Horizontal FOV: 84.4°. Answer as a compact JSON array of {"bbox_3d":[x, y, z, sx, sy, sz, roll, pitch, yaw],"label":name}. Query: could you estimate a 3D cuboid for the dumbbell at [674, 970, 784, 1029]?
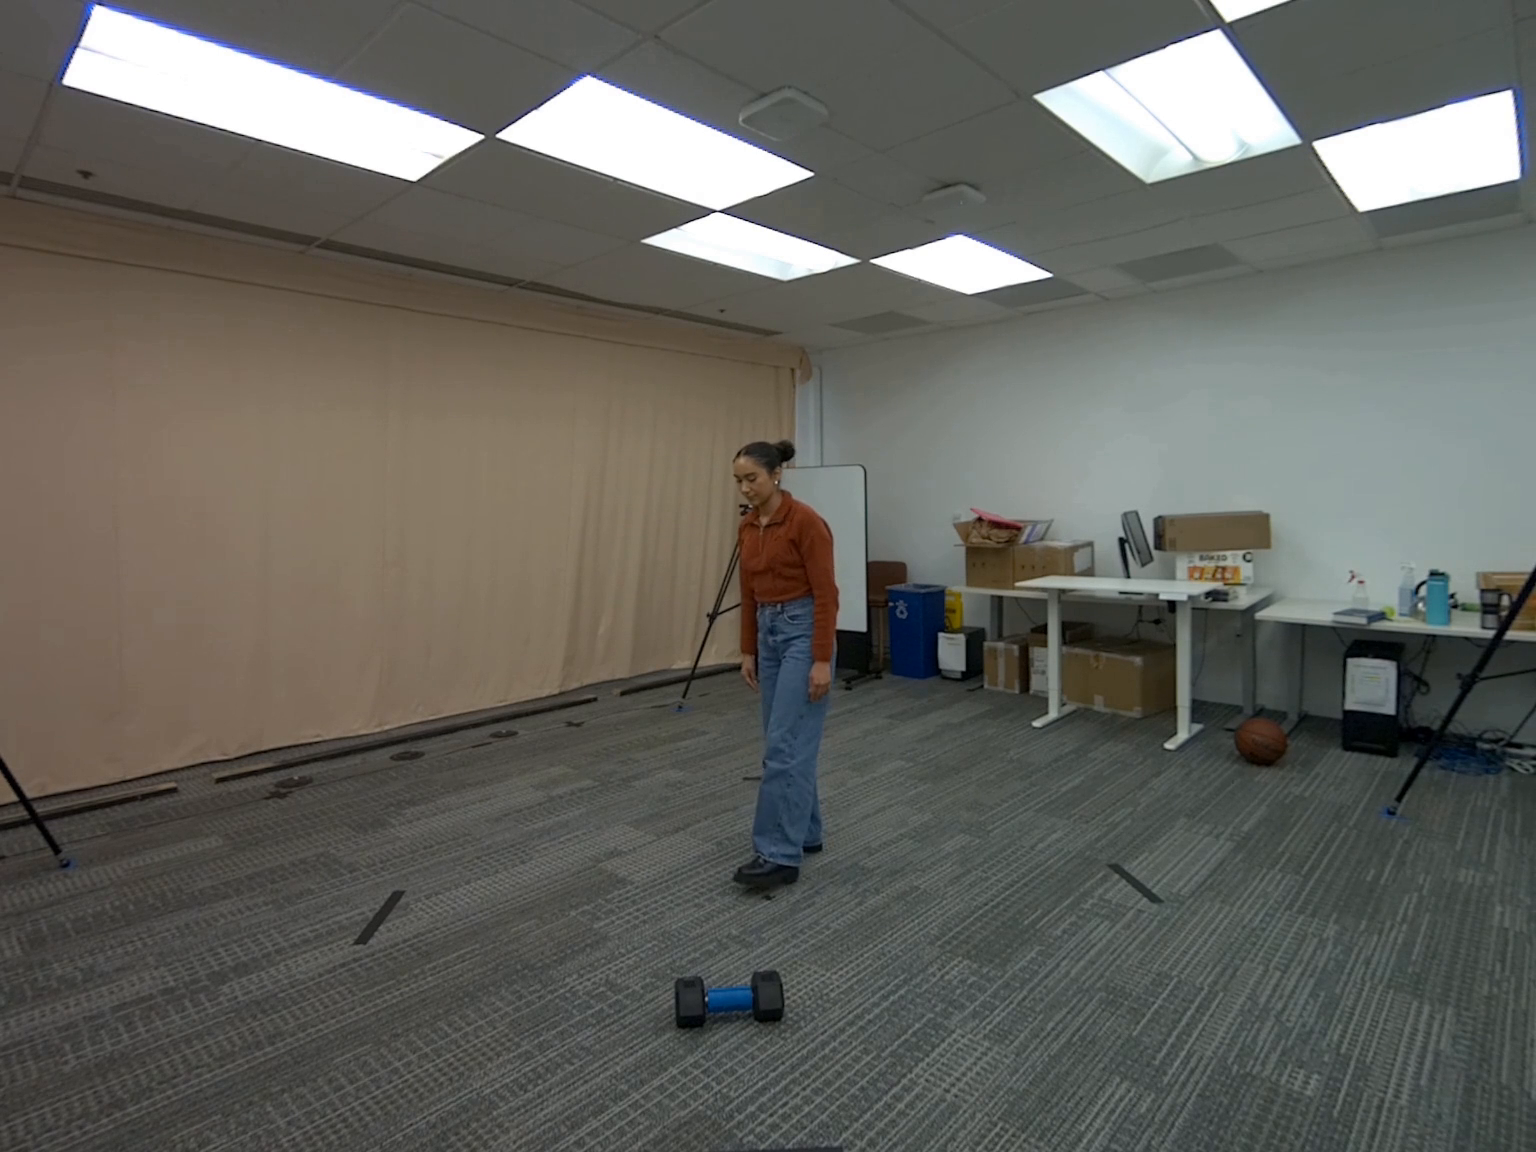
[{"bbox_3d":[-0.107,1.151,2.275,0.293,0.125,0.107,-1,-26,-2],"label":"dumbbell"}]
